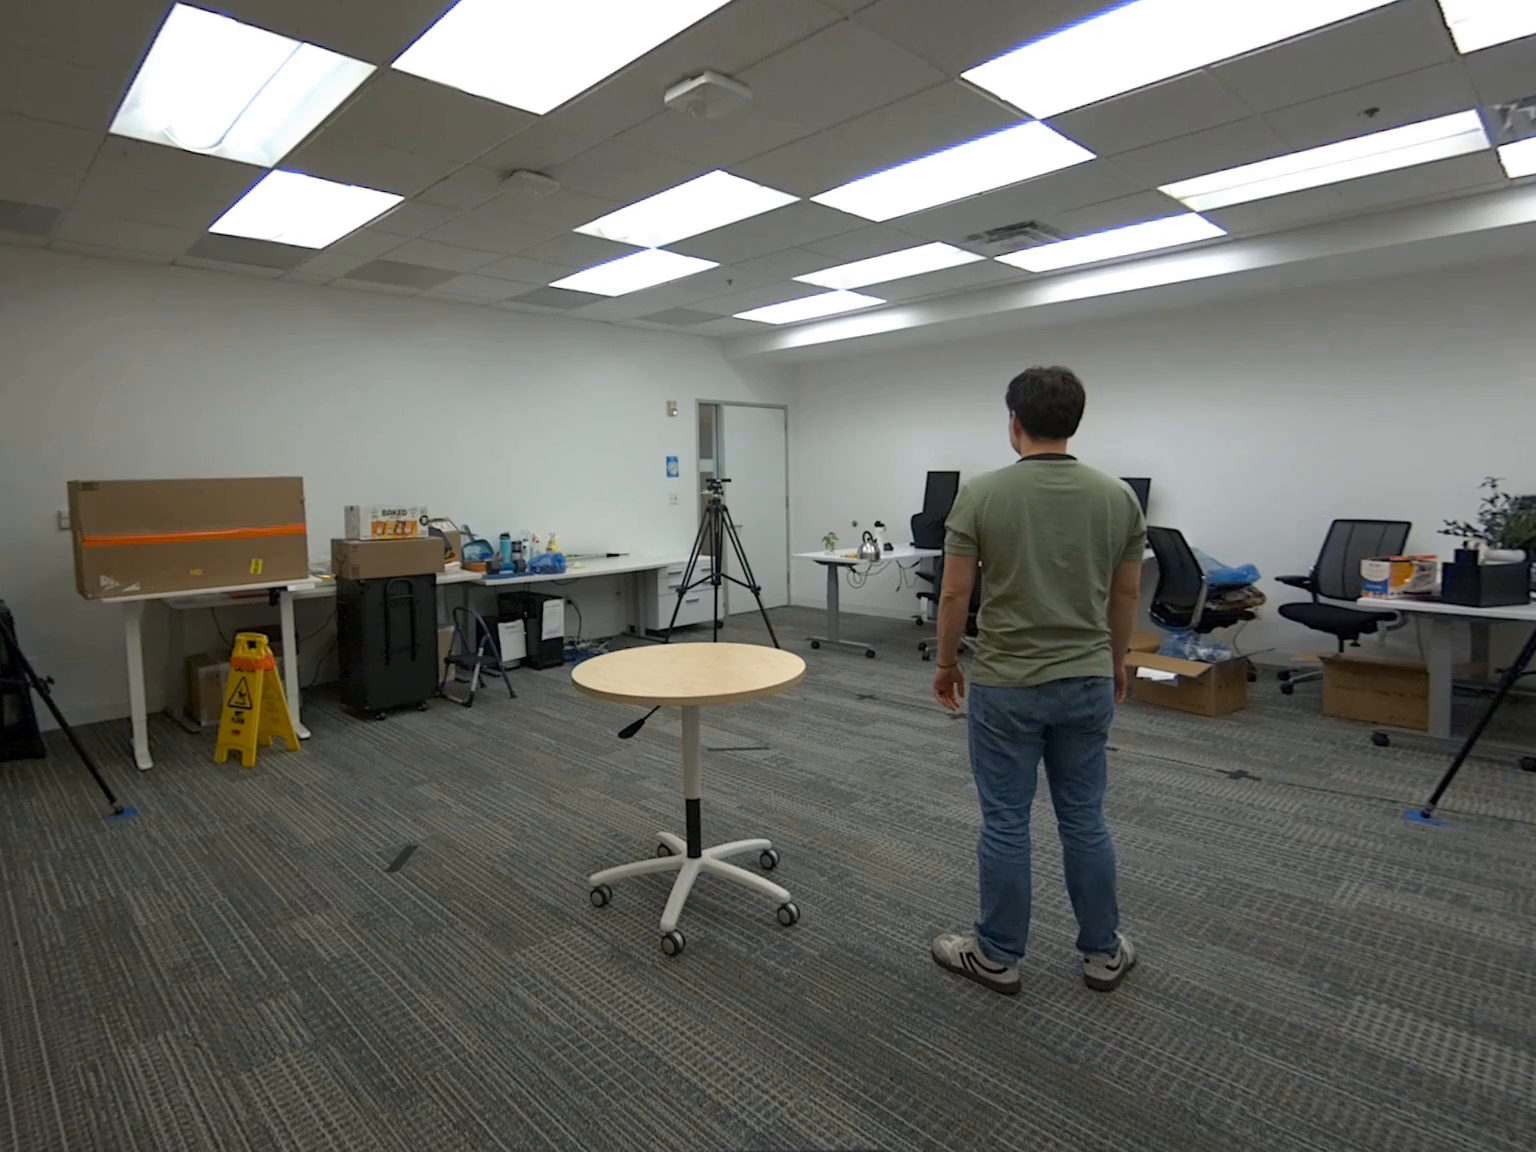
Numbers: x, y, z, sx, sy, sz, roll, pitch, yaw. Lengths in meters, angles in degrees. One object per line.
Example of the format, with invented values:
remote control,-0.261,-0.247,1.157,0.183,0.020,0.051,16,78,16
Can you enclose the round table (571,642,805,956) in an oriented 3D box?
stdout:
round table,-0.240,0.690,2.841,0.763,0.790,0.768,-2,5,-2
